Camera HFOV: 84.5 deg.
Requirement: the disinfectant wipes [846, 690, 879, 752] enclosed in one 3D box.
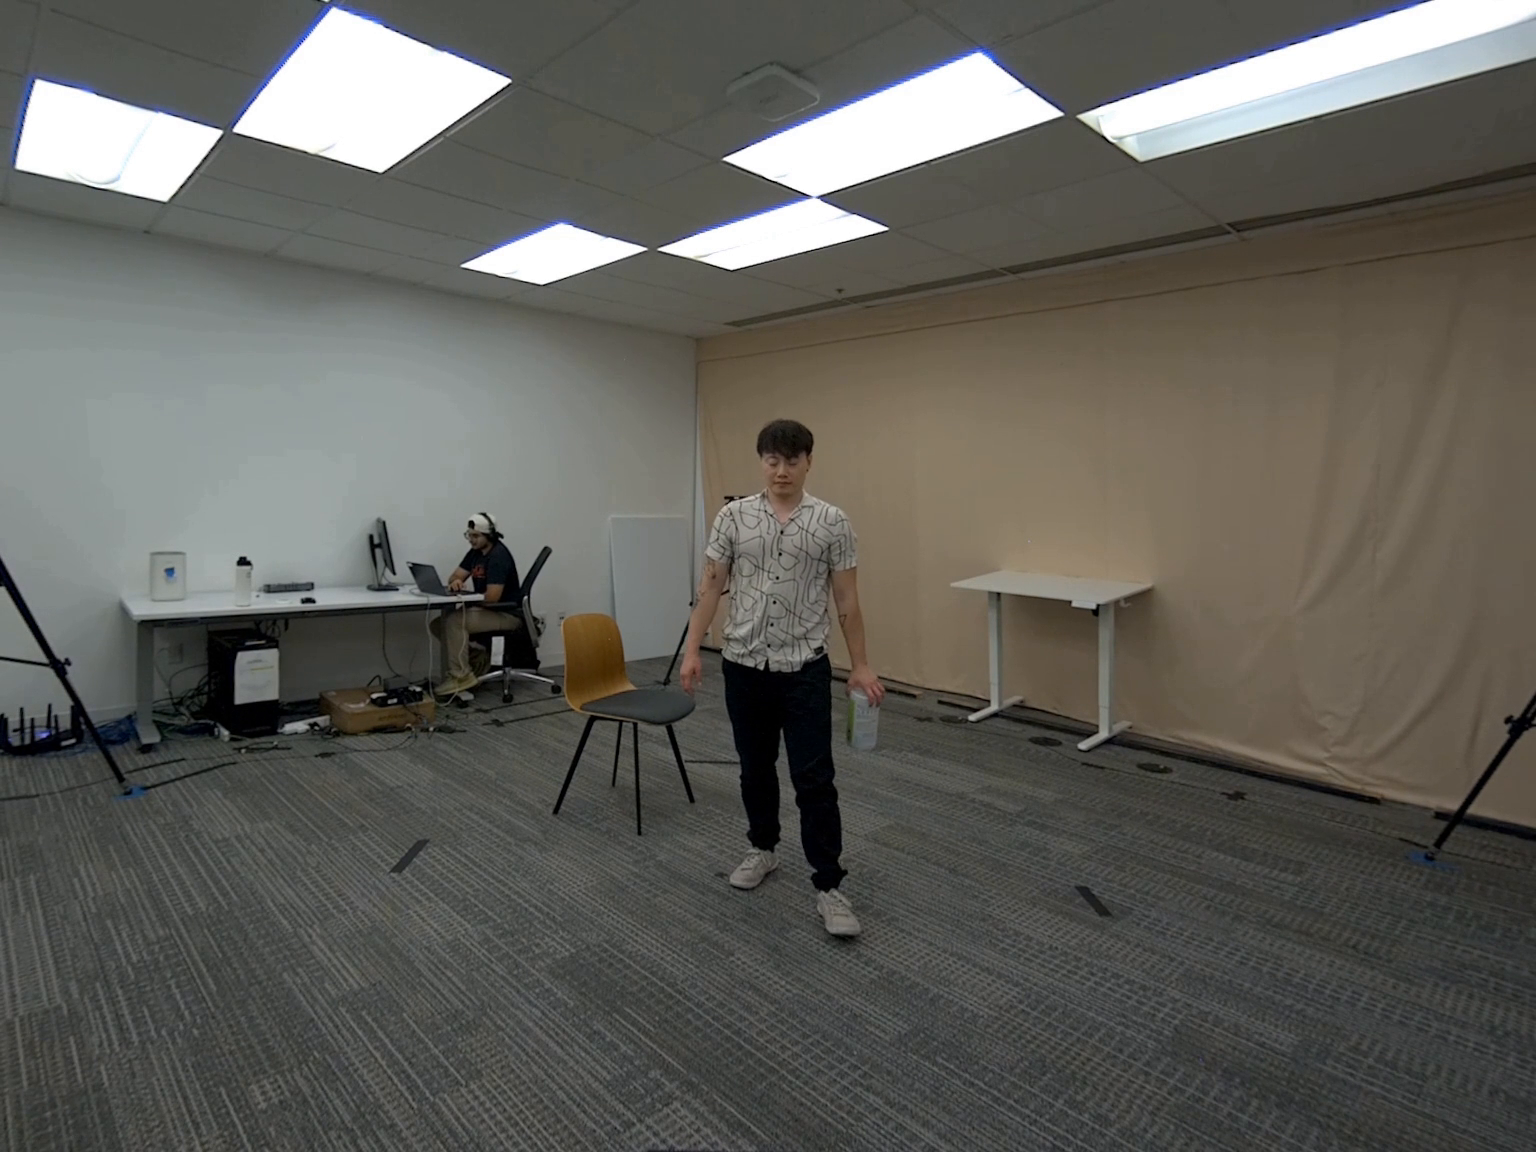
[{"bbox_3d":[0.326,0.493,2.936,0.117,0.215,0.119,1,16,-2],"label":"disinfectant wipes"}]
